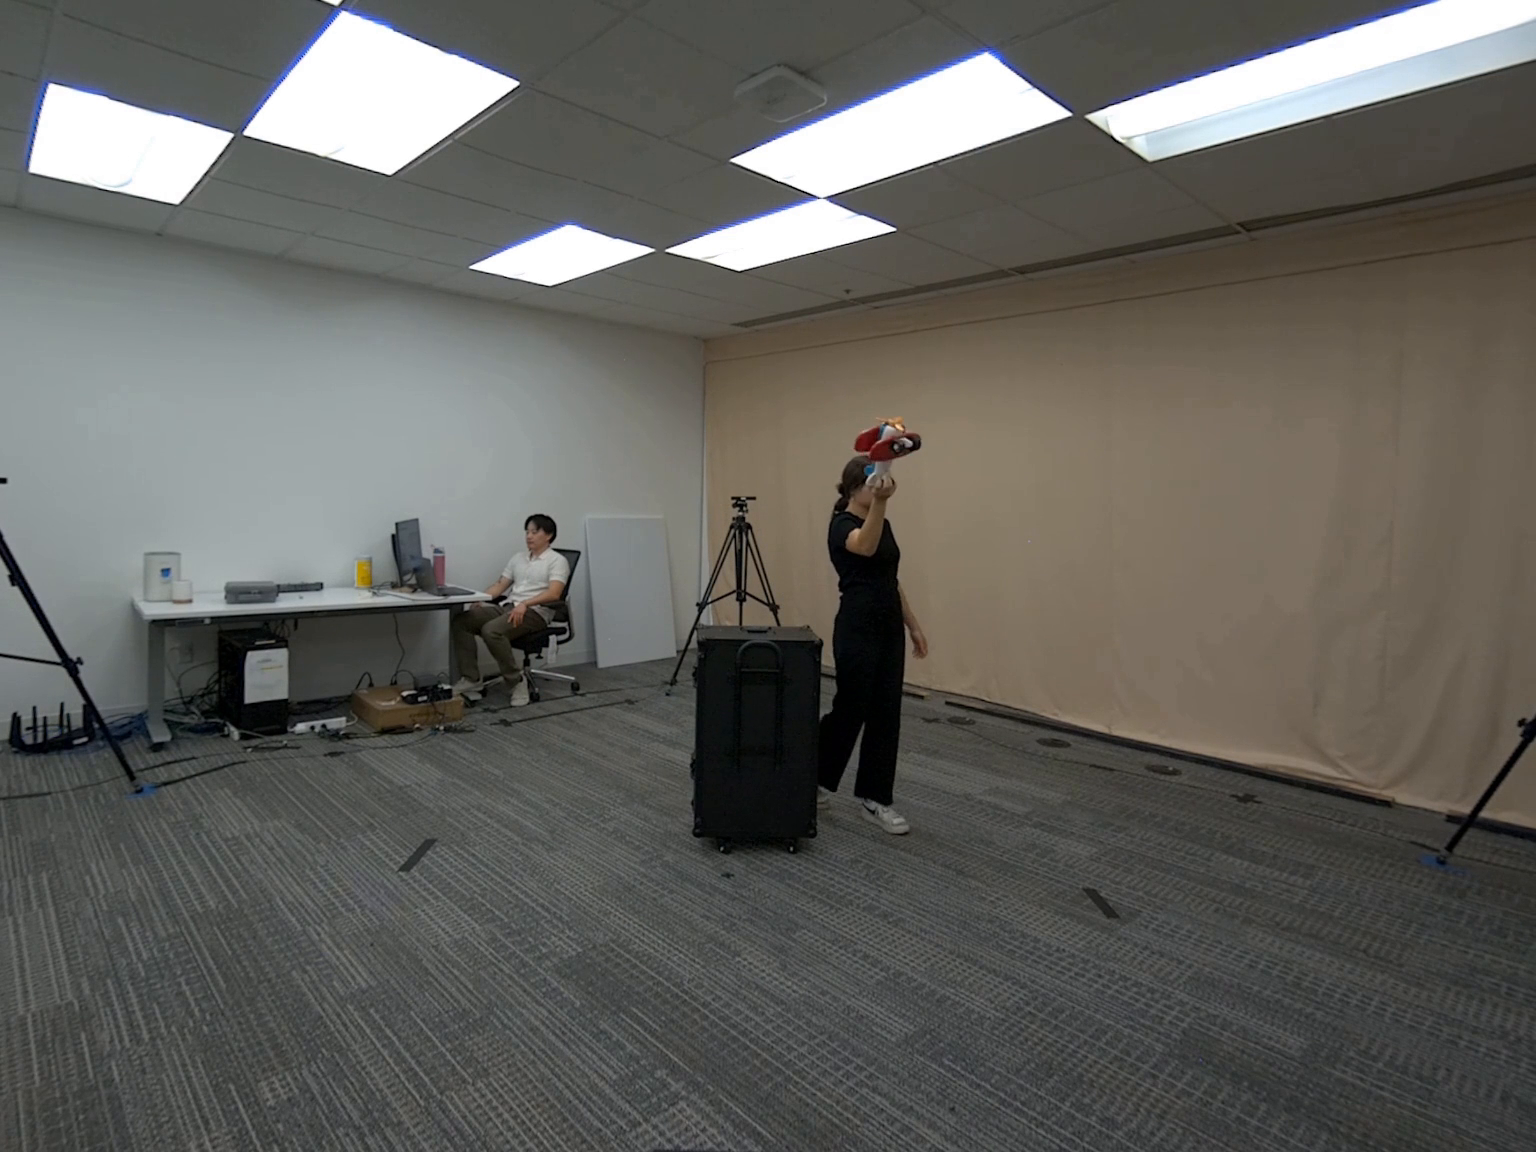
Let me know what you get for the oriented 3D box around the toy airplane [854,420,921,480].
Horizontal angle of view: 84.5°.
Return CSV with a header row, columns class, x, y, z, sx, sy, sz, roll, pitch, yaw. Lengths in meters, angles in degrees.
class,x,y,z,sx,sy,sz,roll,pitch,yaw
toy airplane,0.408,-0.442,3.065,0.160,0.259,0.244,54,21,26
